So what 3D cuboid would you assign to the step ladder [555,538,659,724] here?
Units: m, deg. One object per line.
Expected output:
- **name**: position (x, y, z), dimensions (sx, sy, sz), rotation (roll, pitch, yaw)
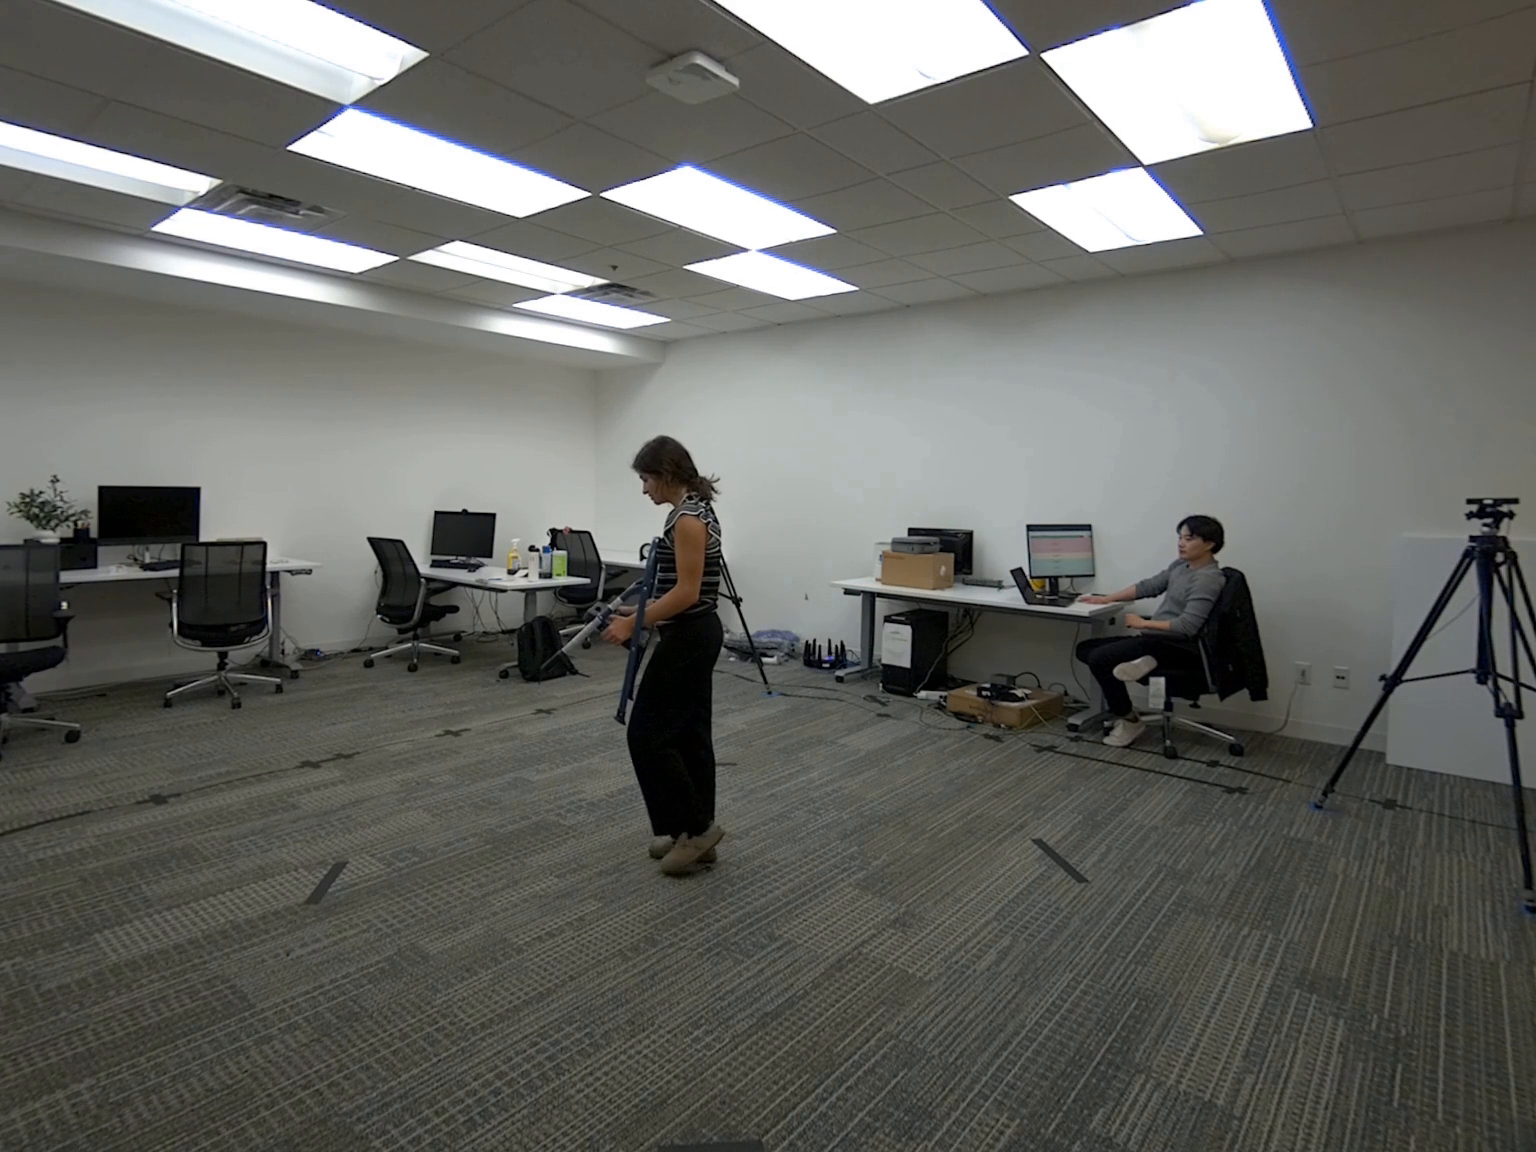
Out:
- **step ladder**: position (-0.515, 0.157, 3.160), dimensions (0.347, 0.605, 0.434), rotation (32, 2, -6)
